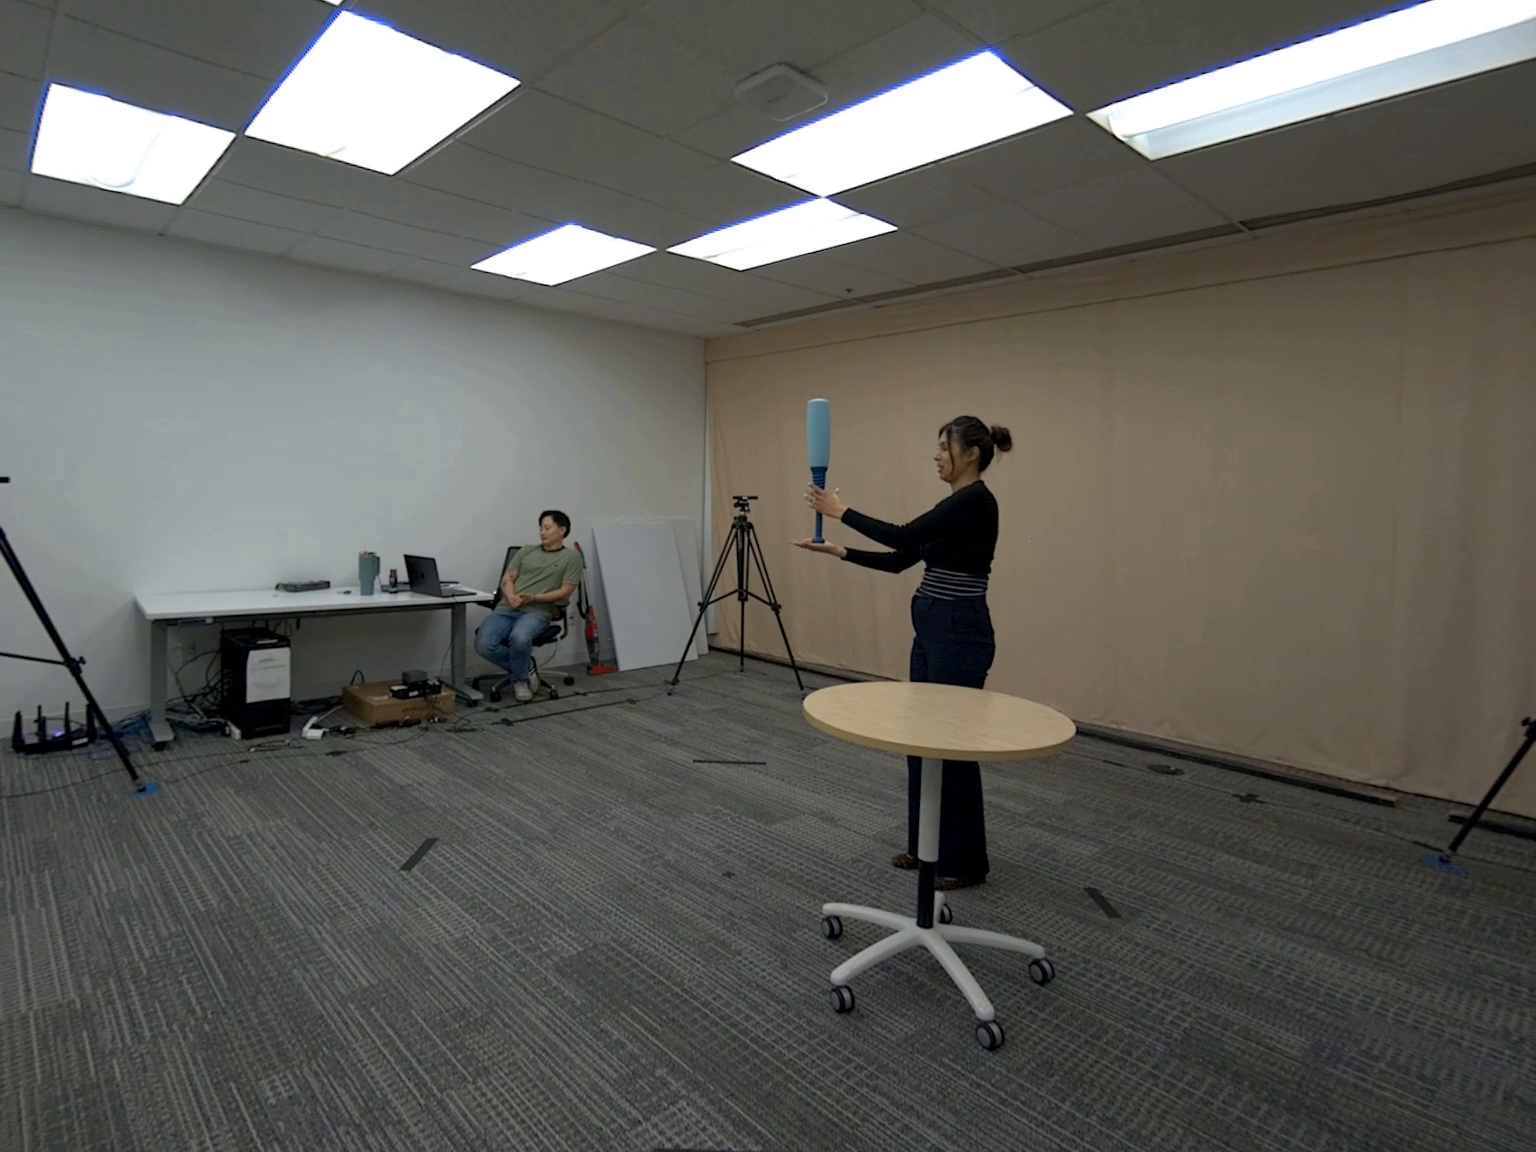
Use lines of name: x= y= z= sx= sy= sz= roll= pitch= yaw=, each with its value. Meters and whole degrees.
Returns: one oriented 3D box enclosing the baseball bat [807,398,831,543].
baseball bat: x=0.188 y=-0.390 z=3.155 sx=0.089 sy=0.542 sz=0.089 roll=2 pitch=3 yaw=-2
